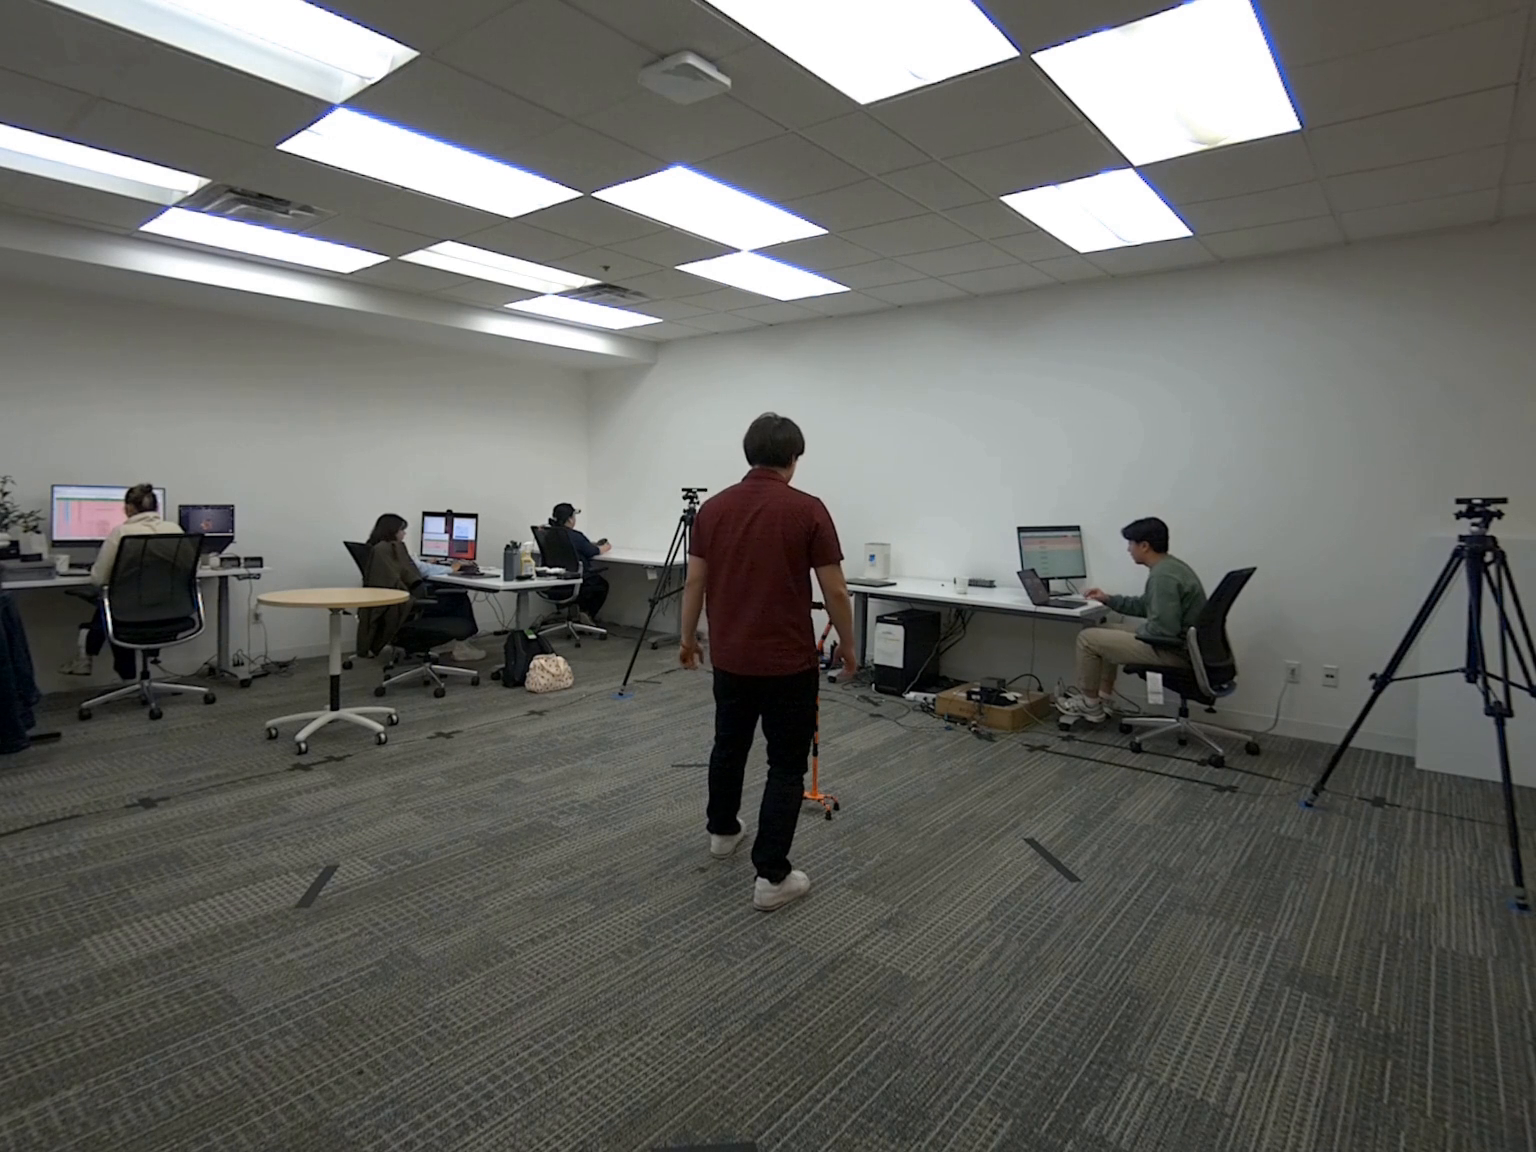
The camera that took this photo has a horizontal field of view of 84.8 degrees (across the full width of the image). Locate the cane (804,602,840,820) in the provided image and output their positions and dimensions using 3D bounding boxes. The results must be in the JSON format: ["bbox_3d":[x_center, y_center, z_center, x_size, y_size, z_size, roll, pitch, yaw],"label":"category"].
[{"bbox_3d":[0.202,0.573,3.693,0.211,0.907,0.149,2,1,18],"label":"cane"}]
